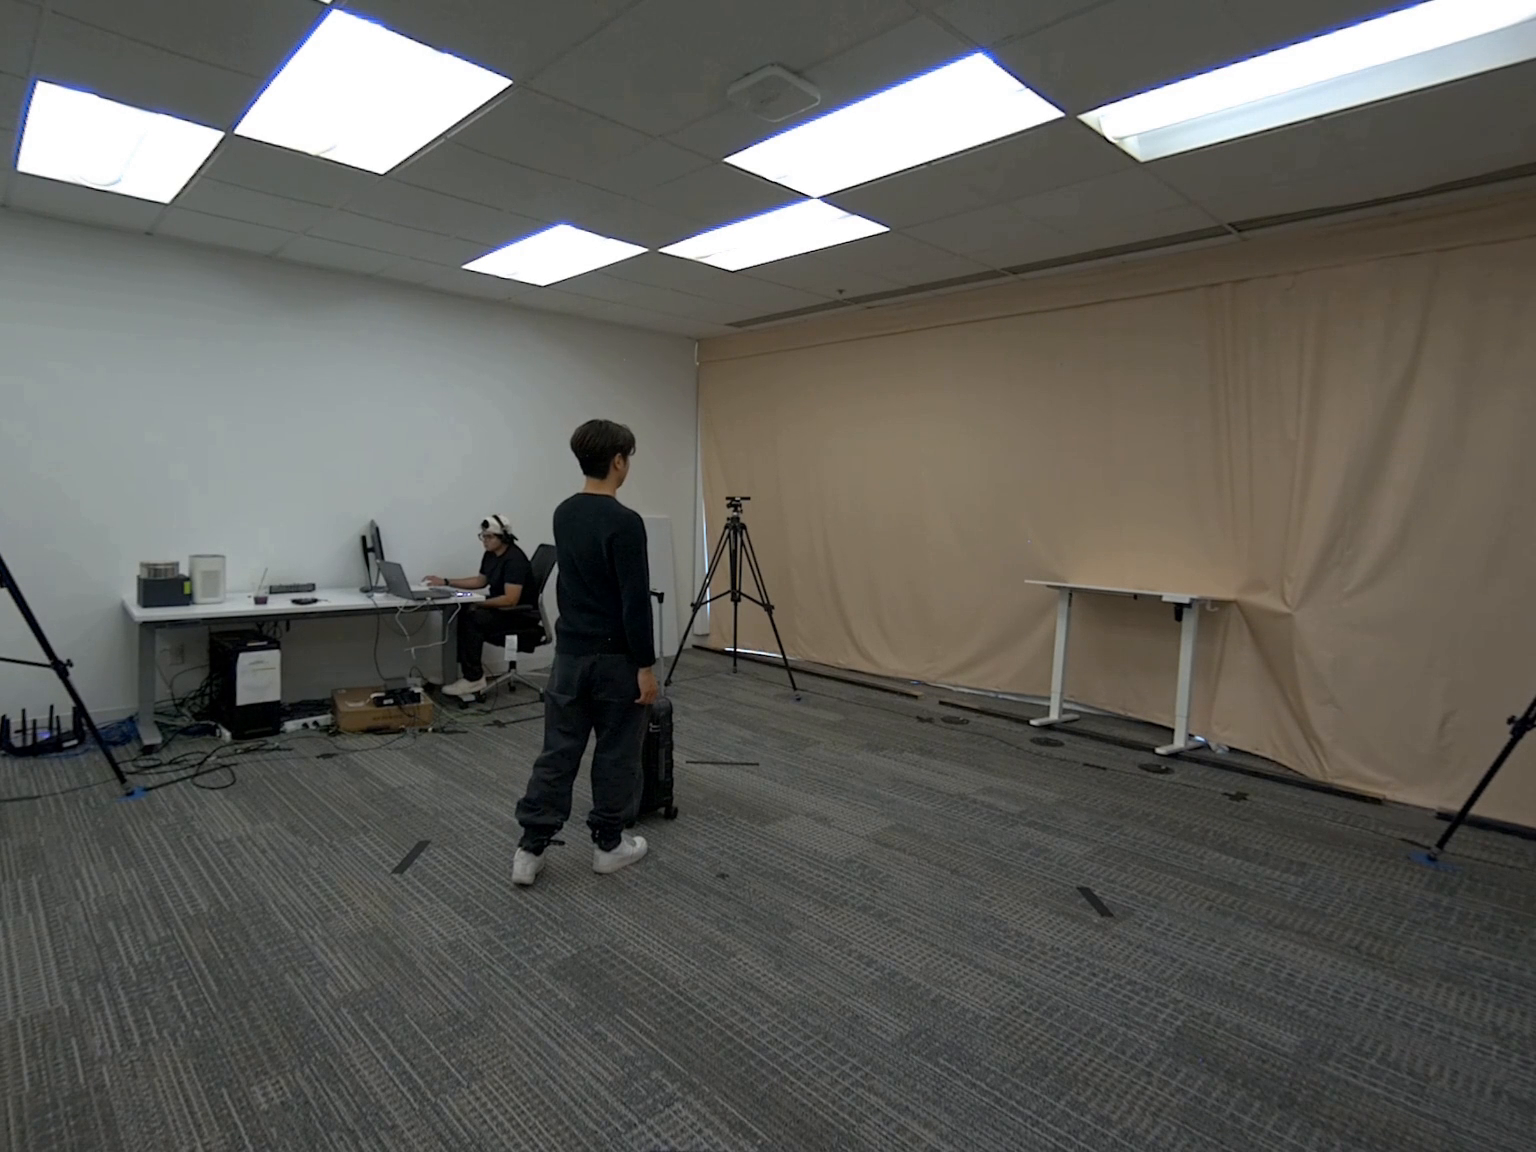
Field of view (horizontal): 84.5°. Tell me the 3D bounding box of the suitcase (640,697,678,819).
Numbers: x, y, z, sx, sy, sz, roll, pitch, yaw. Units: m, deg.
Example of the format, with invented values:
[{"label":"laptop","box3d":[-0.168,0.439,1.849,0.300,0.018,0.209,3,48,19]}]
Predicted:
[{"label":"suitcase","box3d":[-0.593,0.570,3.688,0.252,0.975,0.392,-4,5,-29]}]
